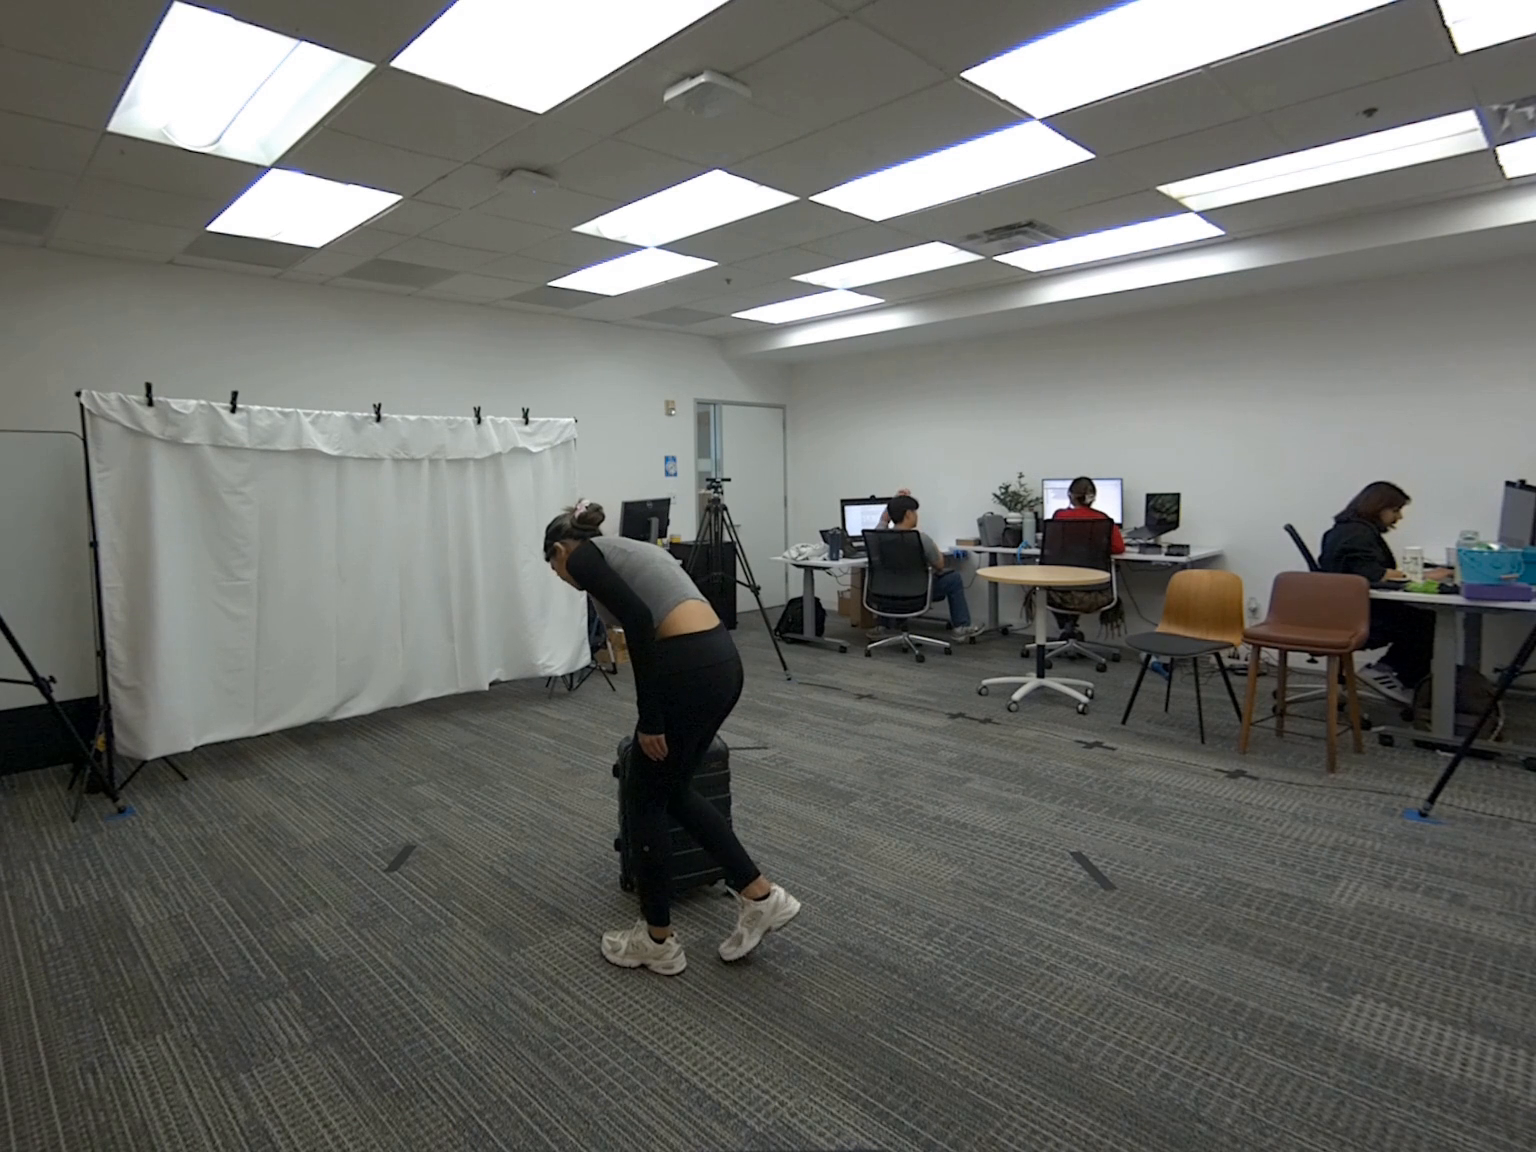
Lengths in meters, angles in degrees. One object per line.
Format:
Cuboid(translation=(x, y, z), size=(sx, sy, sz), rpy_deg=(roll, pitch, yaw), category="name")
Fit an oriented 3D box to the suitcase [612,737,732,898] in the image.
Cuboid(translation=(-0.311, 0.792, 2.892), size=(0.367, 0.548, 0.254), rpy_deg=(-4, 4, -27), category="suitcase")
